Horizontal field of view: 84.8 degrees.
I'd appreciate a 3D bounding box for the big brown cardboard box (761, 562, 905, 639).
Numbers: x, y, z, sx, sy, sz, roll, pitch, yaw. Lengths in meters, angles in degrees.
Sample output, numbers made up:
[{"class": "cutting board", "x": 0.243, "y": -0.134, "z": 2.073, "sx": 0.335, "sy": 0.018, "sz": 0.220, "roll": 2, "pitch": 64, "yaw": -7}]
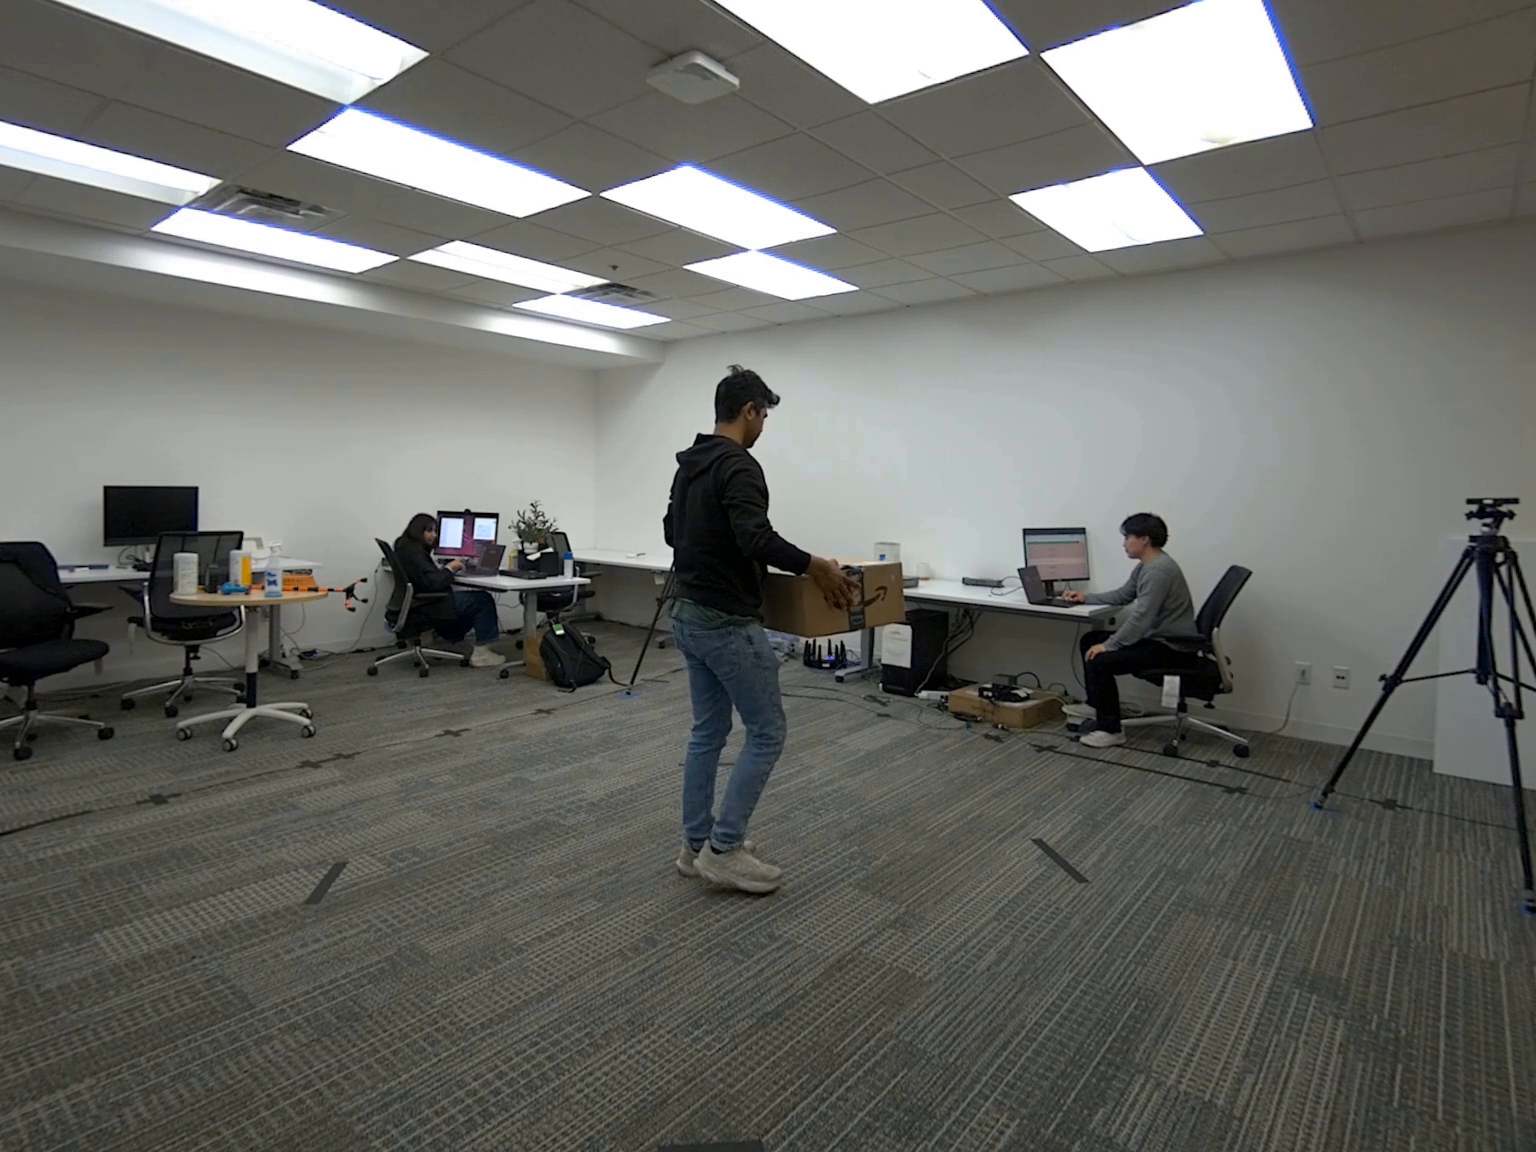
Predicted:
[{"class": "big brown cardboard box", "x": 0.152, "y": 0.057, "z": 3.175, "sx": 0.408, "sy": 0.232, "sz": 0.606, "roll": -8, "pitch": 7, "yaw": -29}]
